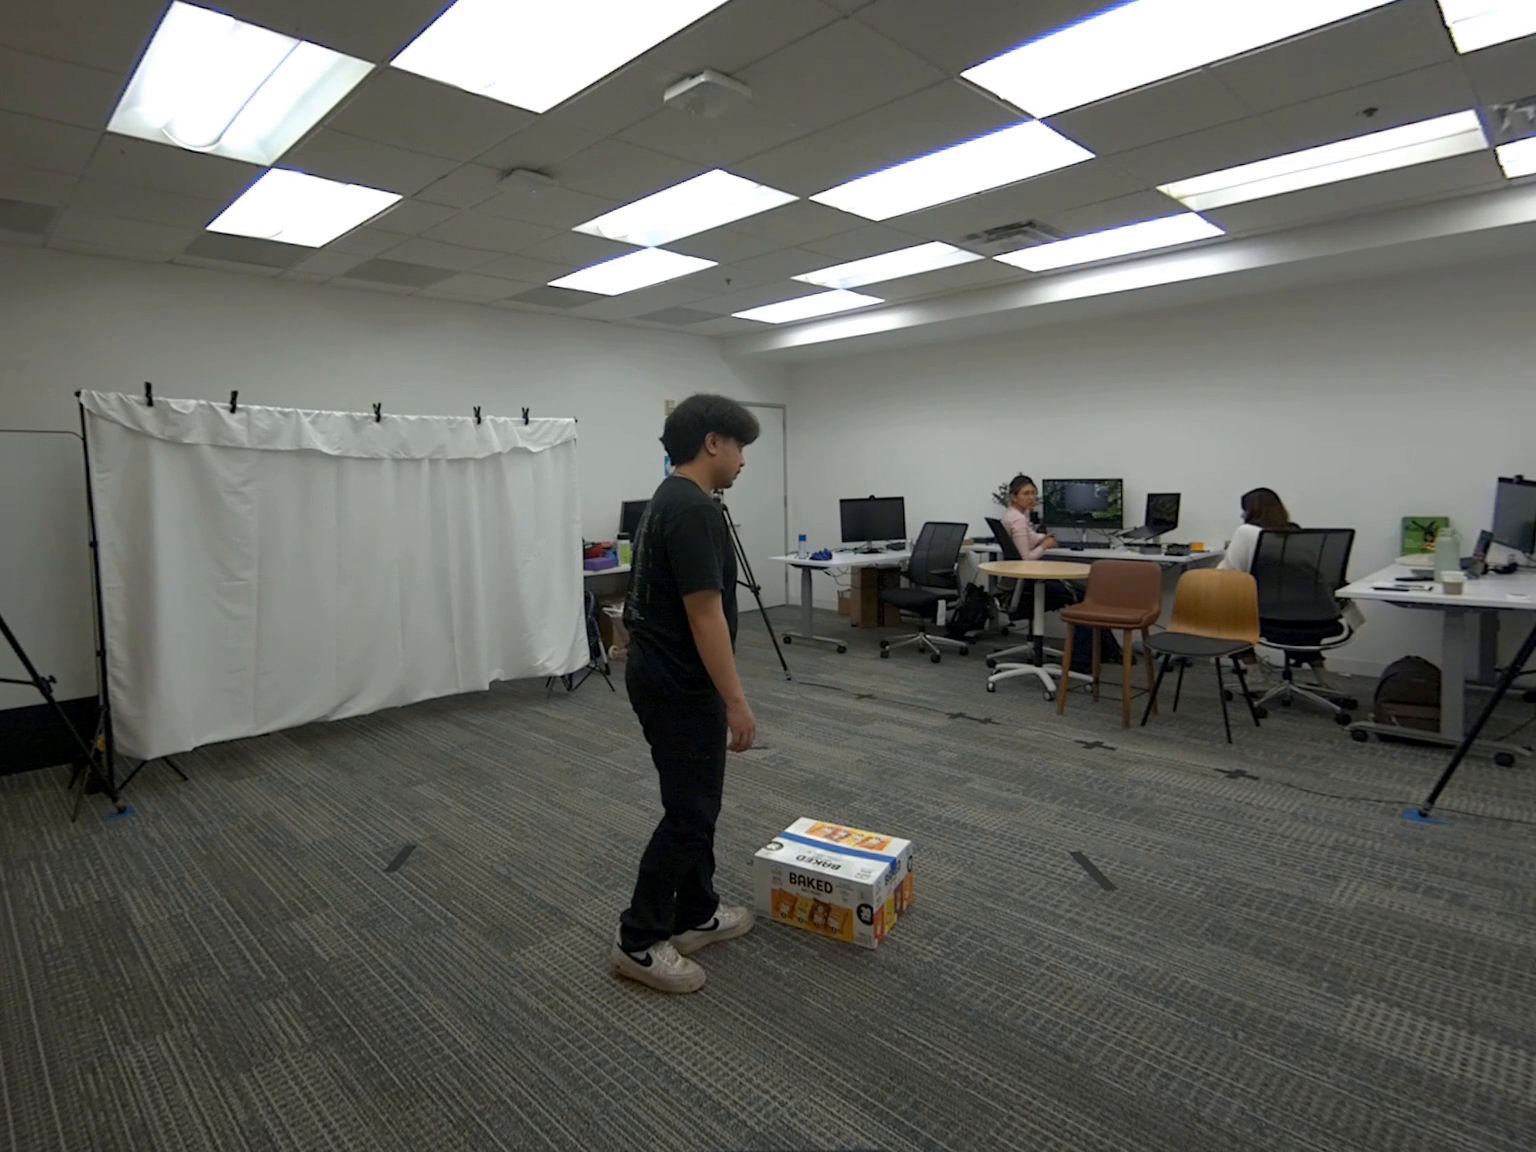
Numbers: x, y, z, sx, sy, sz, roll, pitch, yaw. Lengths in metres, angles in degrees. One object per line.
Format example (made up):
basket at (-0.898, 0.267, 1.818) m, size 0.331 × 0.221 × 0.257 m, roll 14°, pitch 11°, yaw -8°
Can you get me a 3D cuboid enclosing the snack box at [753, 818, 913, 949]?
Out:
snack box at (0.216, 0.975, 2.756) m, size 0.416 × 0.205 × 0.333 m, roll 2°, pitch 7°, yaw 30°
